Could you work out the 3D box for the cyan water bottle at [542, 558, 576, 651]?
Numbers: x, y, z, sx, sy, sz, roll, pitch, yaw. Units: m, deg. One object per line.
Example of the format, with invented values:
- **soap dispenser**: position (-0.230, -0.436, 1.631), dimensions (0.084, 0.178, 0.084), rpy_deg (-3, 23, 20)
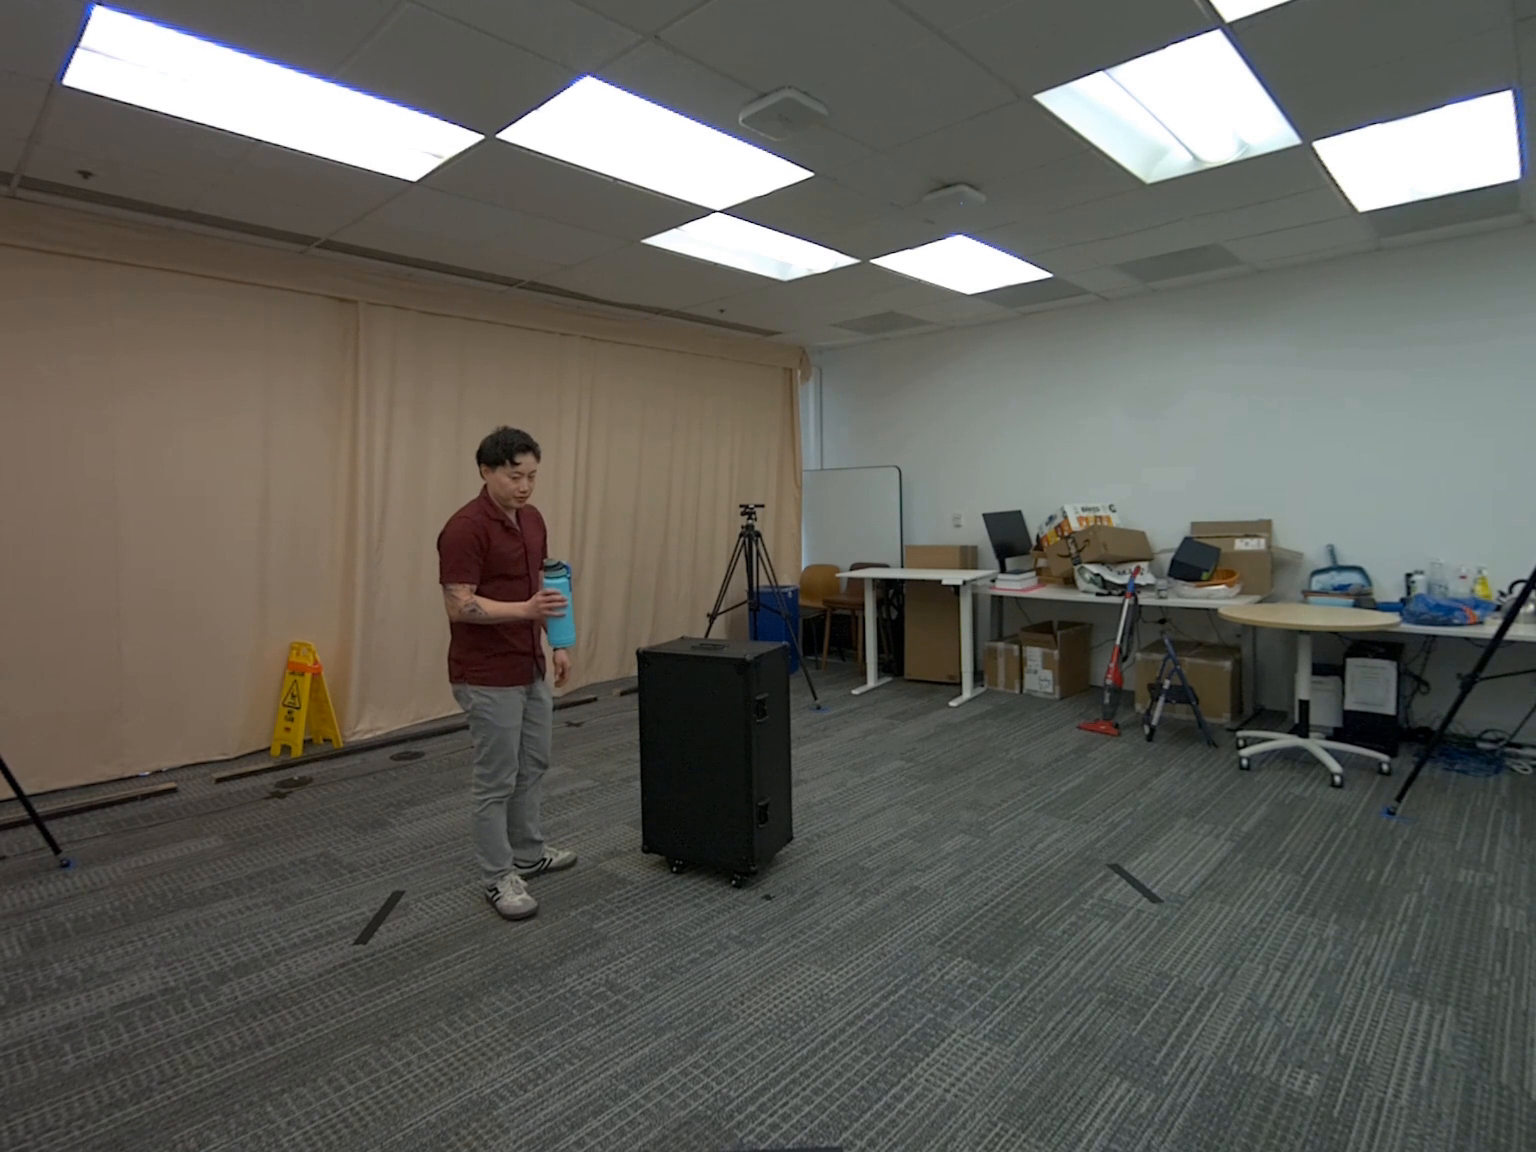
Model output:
- **cyan water bottle**: position (-0.682, 0.084, 2.716), dimensions (0.092, 0.281, 0.093), rpy_deg (-3, 10, -1)
